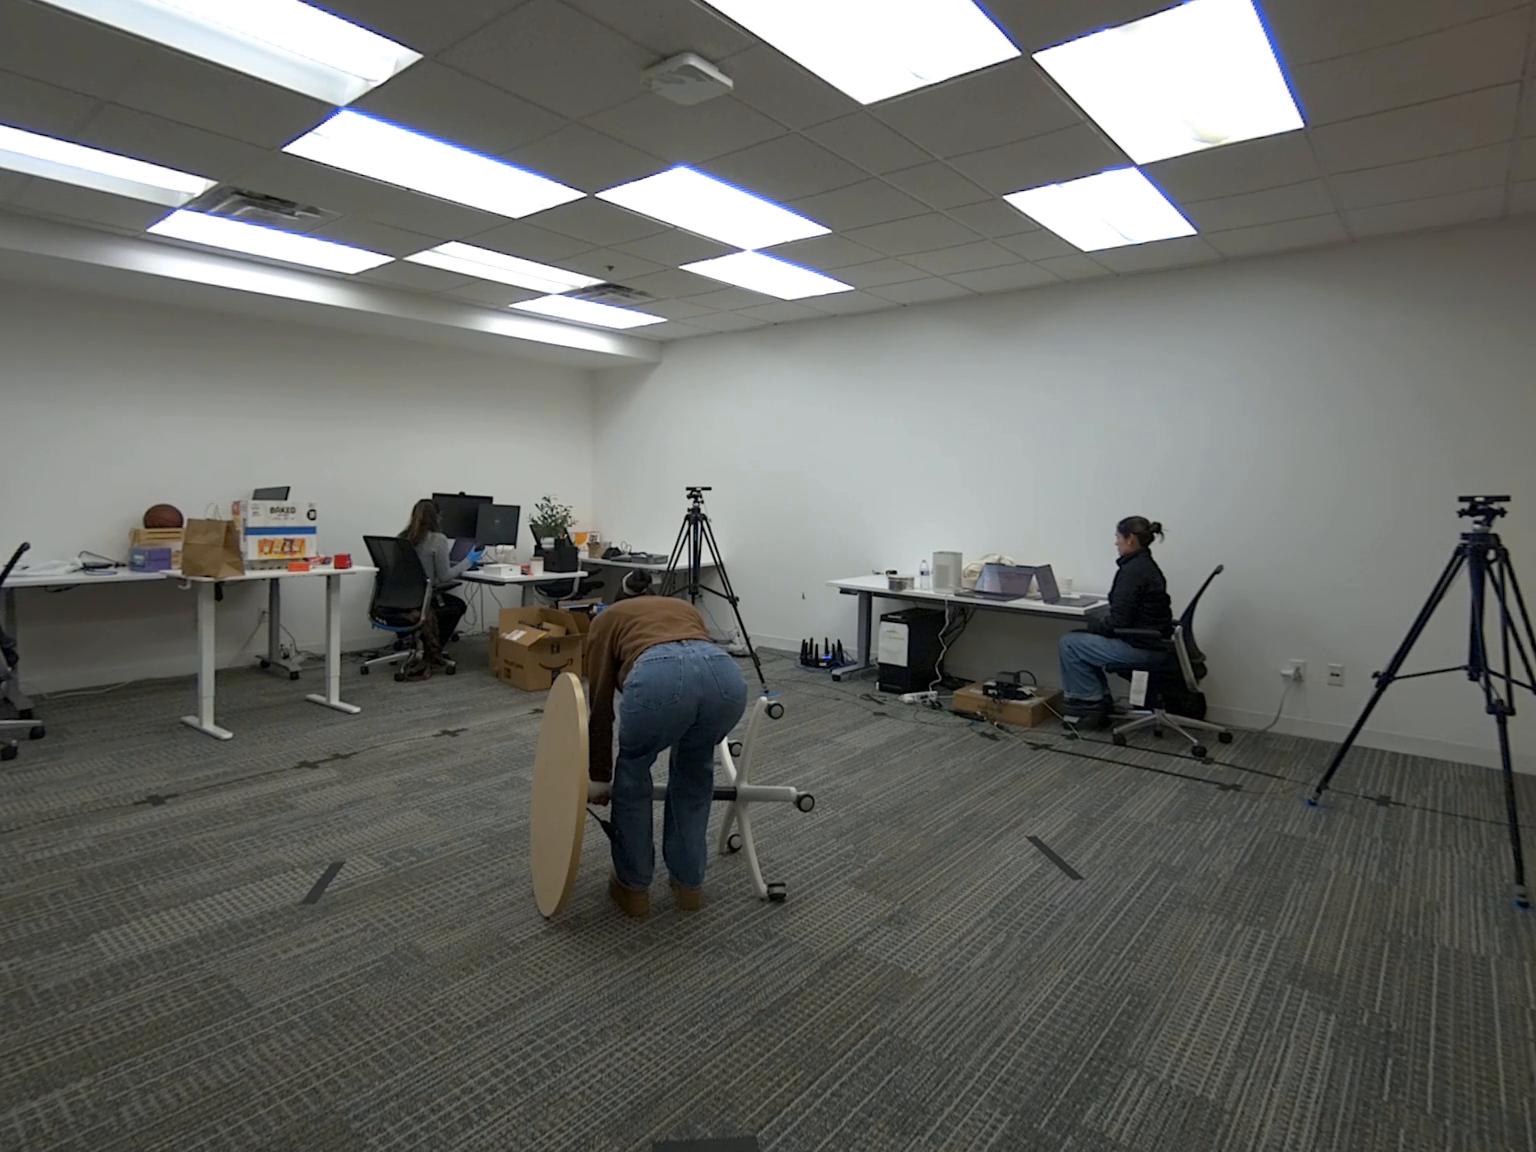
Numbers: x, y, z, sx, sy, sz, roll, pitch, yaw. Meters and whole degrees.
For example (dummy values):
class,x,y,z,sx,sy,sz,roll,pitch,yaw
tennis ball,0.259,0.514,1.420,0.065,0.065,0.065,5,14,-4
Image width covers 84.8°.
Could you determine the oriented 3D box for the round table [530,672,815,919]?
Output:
class,x,y,z,sx,sy,sz,roll,pitch,yaw
round table,-0.355,0.756,2.949,0.776,0.763,0.782,8,1,-22
